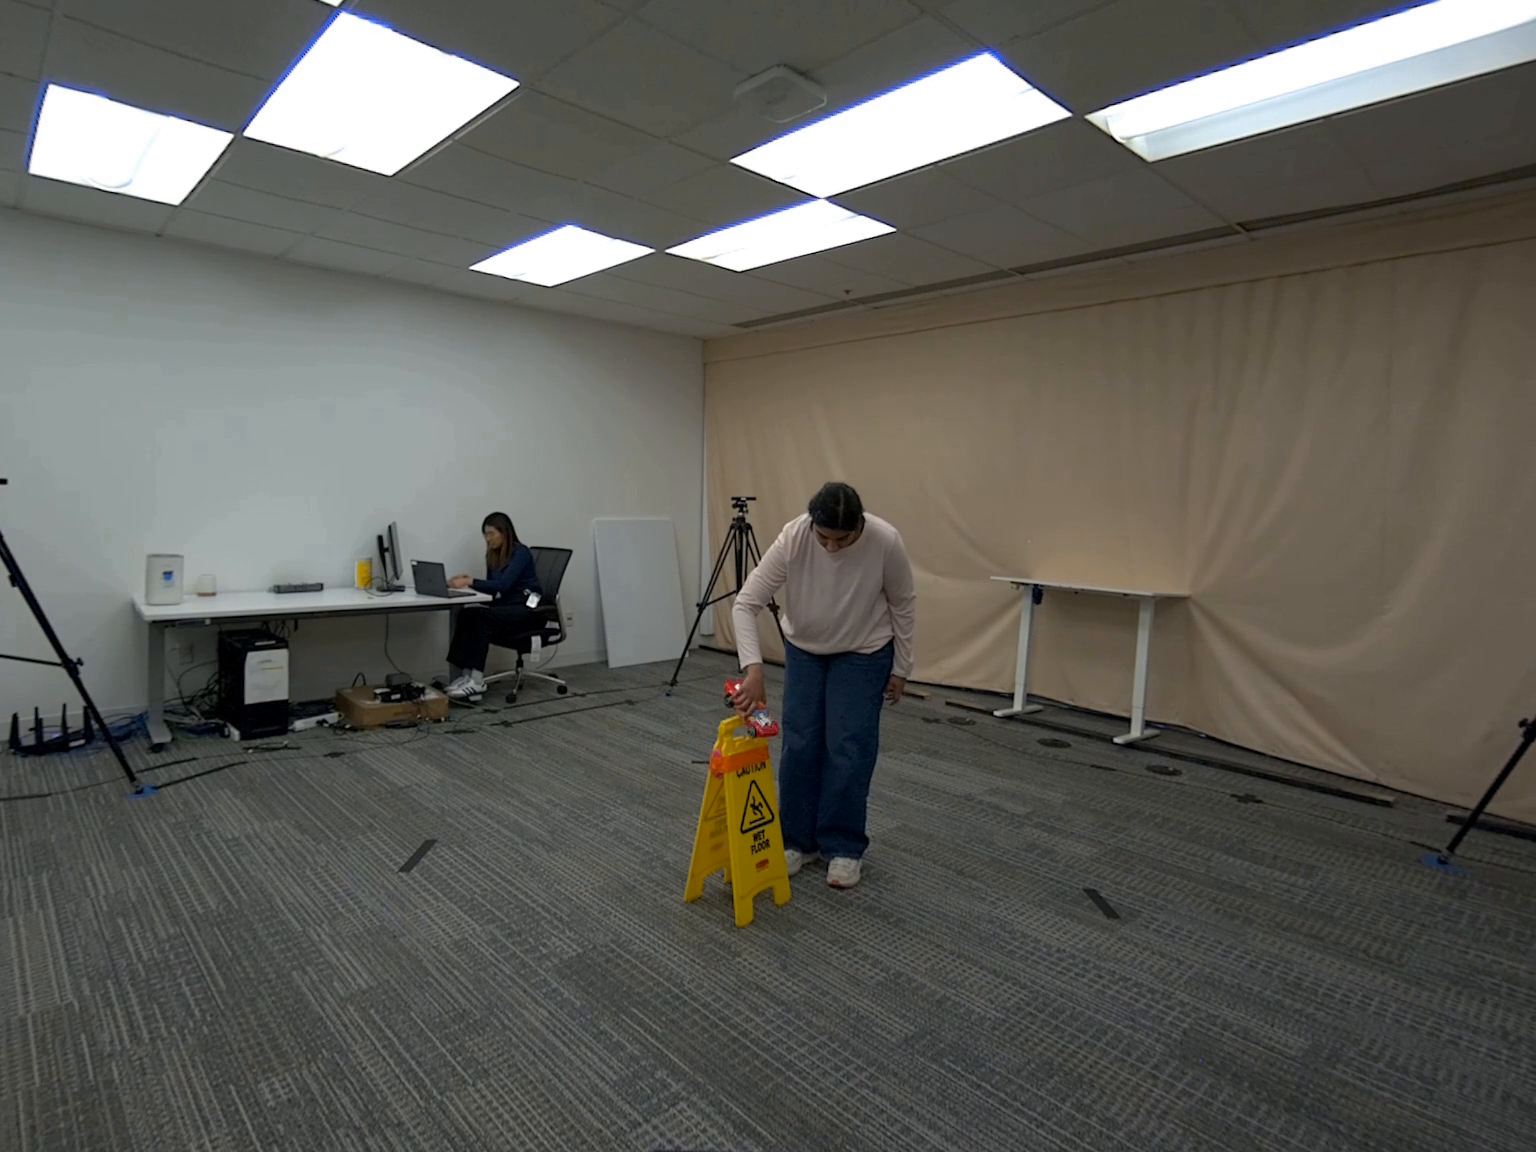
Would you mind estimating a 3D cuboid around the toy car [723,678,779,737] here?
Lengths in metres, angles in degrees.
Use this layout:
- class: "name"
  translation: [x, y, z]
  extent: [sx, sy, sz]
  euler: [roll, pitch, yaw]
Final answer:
- class: "toy car"
  translation: [-0.073, 0.459, 2.888]
  extent: [0.127, 0.083, 0.262]
  euler: [4, 45, -42]
